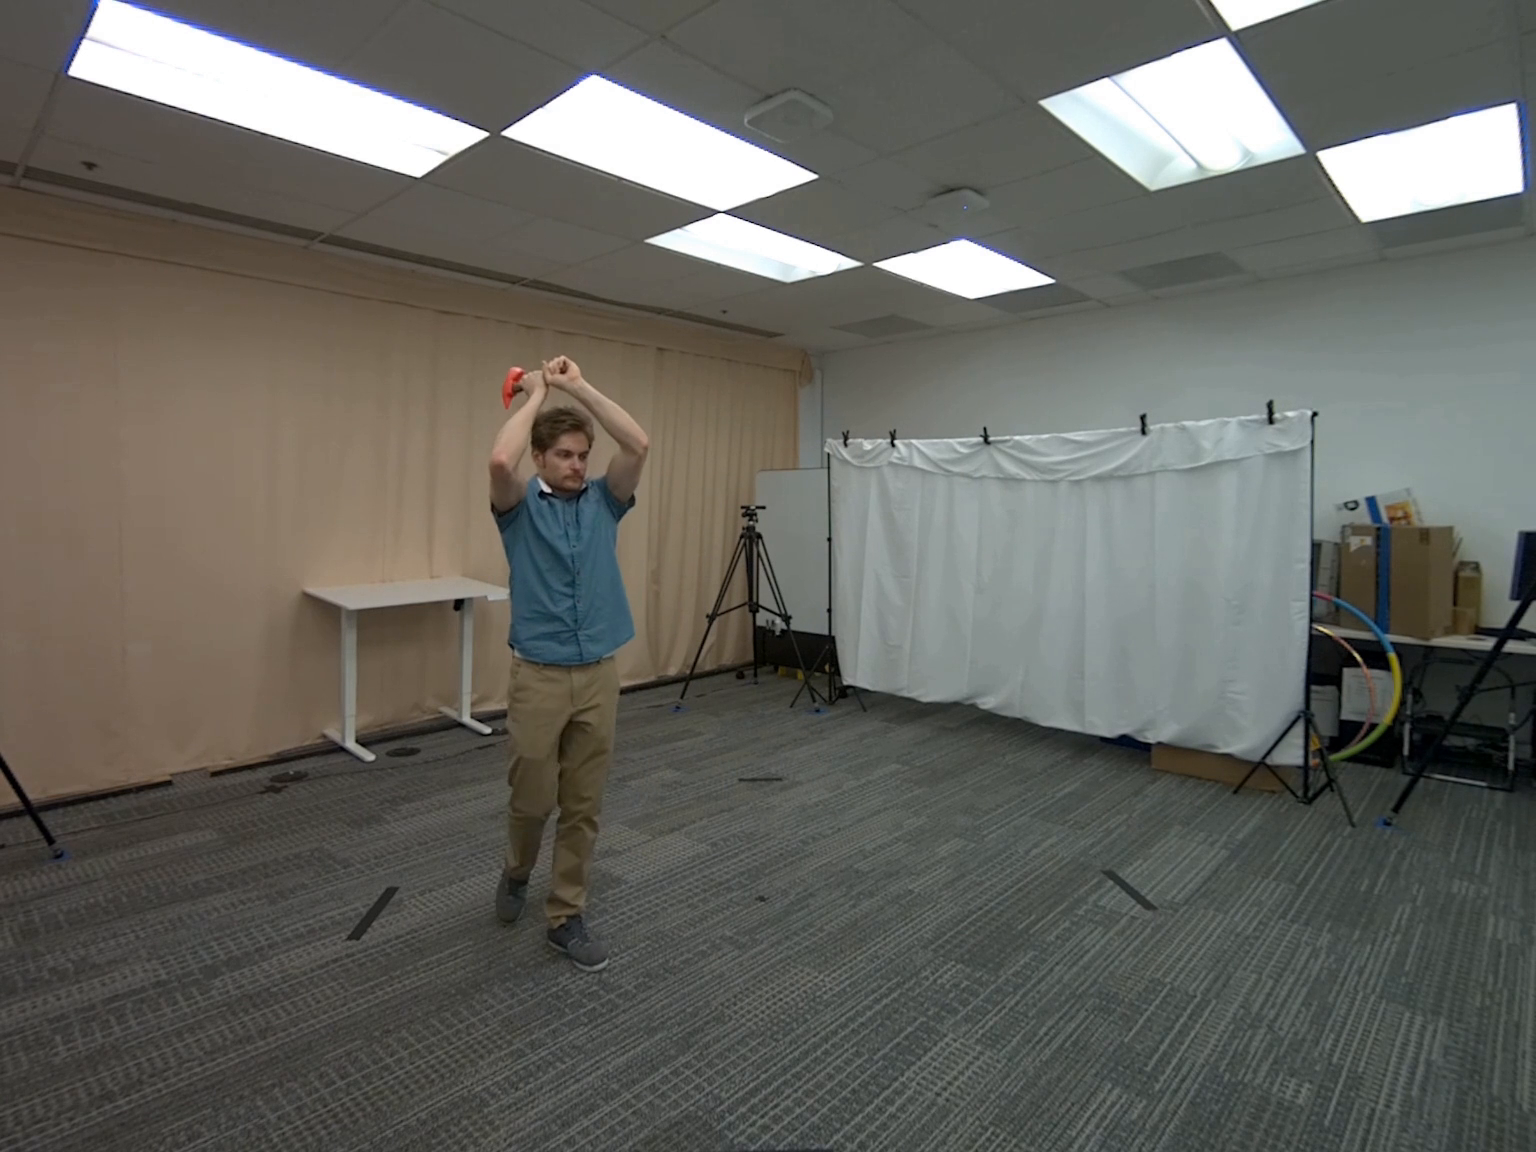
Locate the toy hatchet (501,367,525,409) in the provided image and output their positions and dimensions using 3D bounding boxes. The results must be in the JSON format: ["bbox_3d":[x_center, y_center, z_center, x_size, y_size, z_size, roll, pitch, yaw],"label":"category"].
[{"bbox_3d":[-0.728,-0.622,2.570,0.276,0.133,0.028,-23,-26,36],"label":"toy hatchet"}]
